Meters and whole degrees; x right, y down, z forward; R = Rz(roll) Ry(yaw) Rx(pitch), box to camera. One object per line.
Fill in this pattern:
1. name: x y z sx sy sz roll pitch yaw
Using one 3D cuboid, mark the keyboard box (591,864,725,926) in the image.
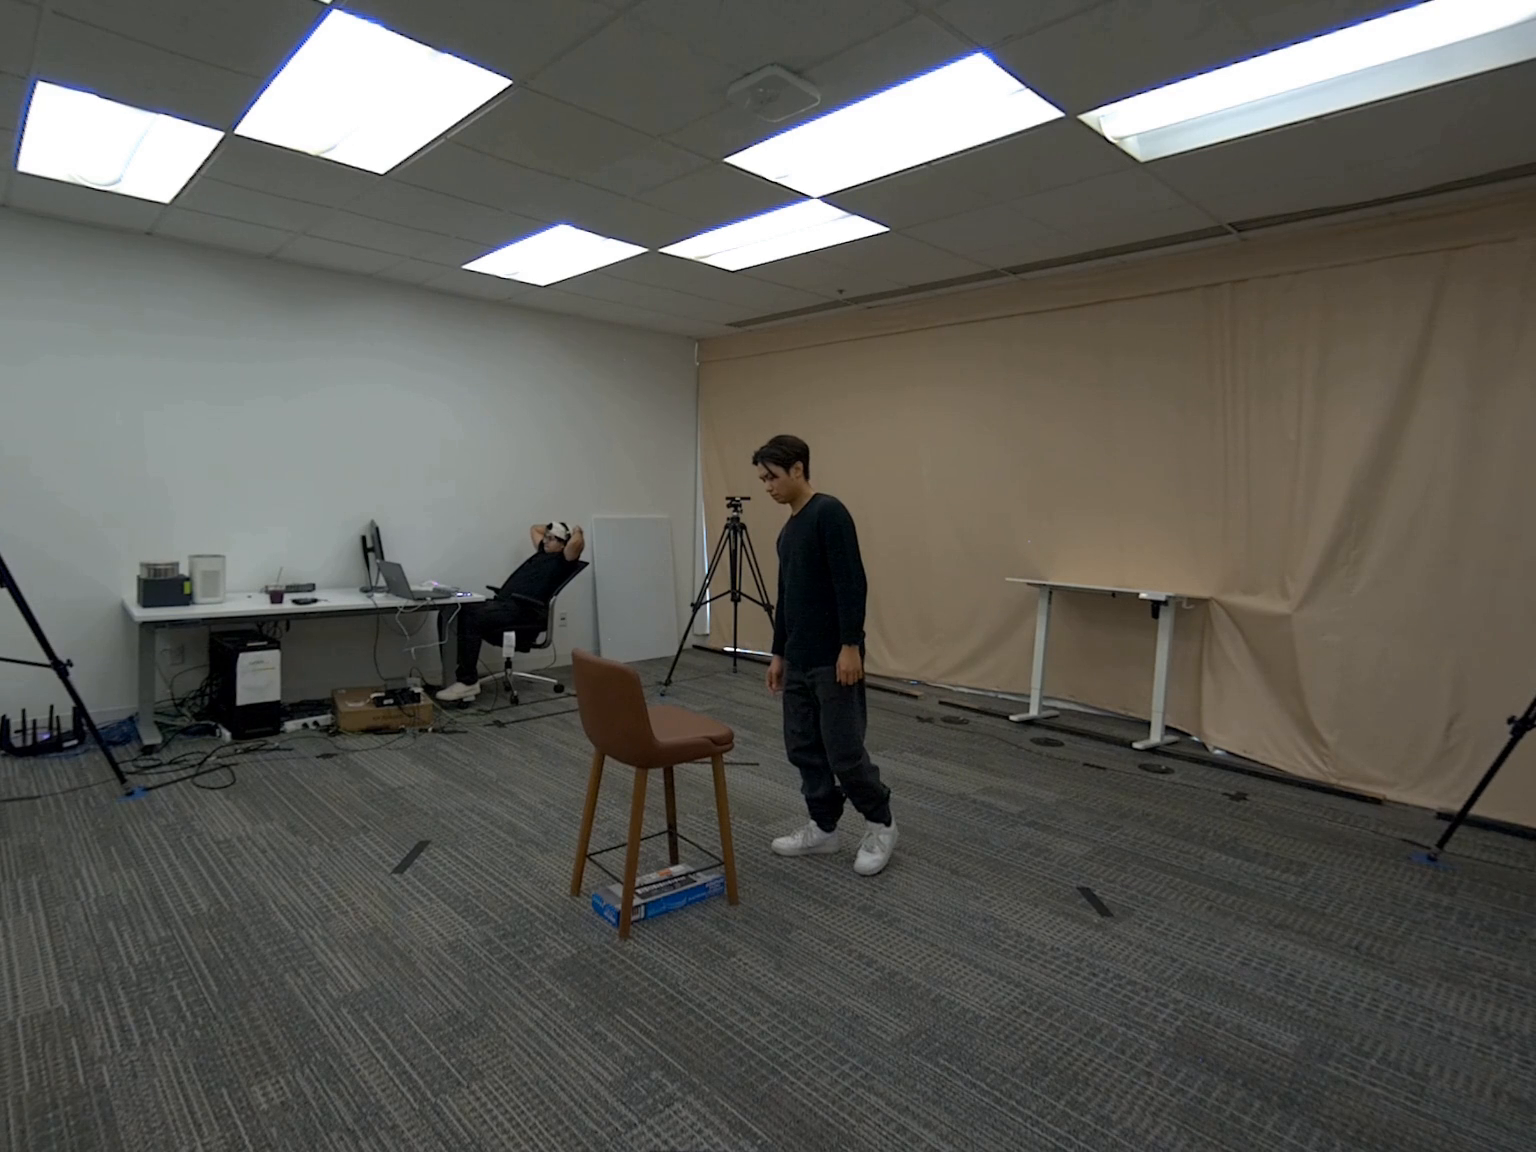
1. keyboard box: -0.383 1.096 2.905 0.427 0.059 0.180 -3 5 -39
